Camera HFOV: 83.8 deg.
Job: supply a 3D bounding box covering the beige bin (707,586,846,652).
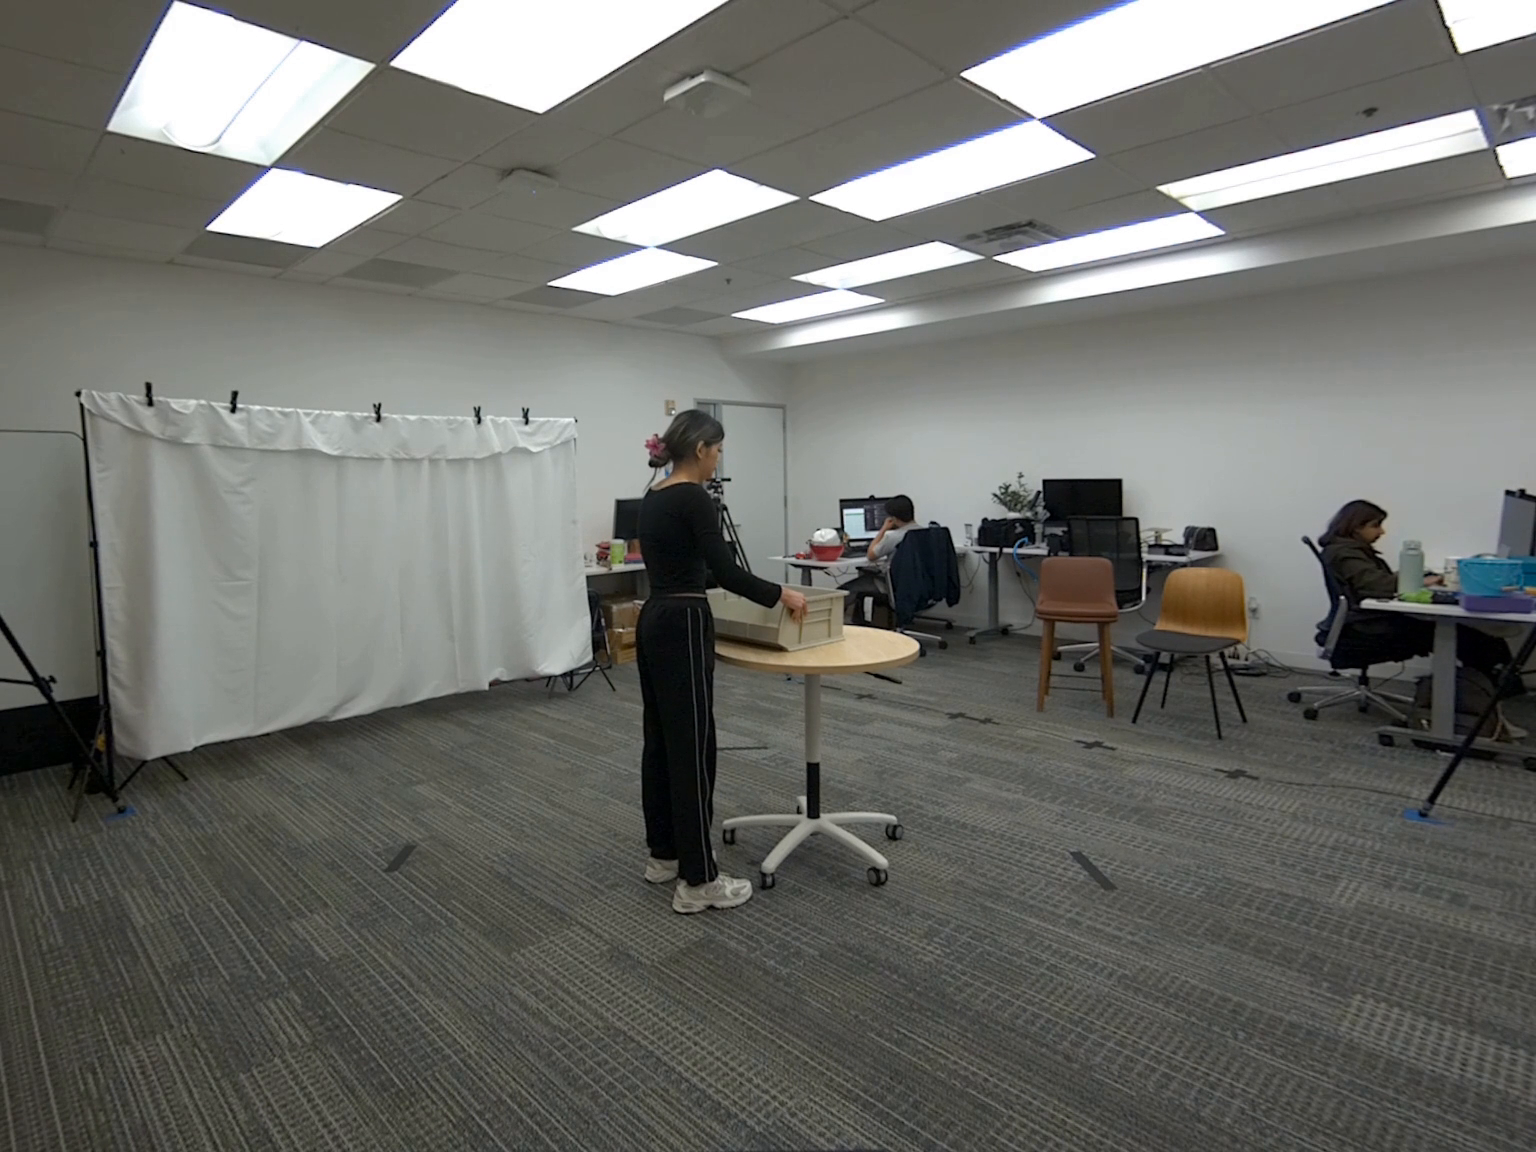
[{"bbox_3d":[0.017,0.145,3.188,0.367,0.188,0.435,-3,5,-44],"label":"beige bin"}]
